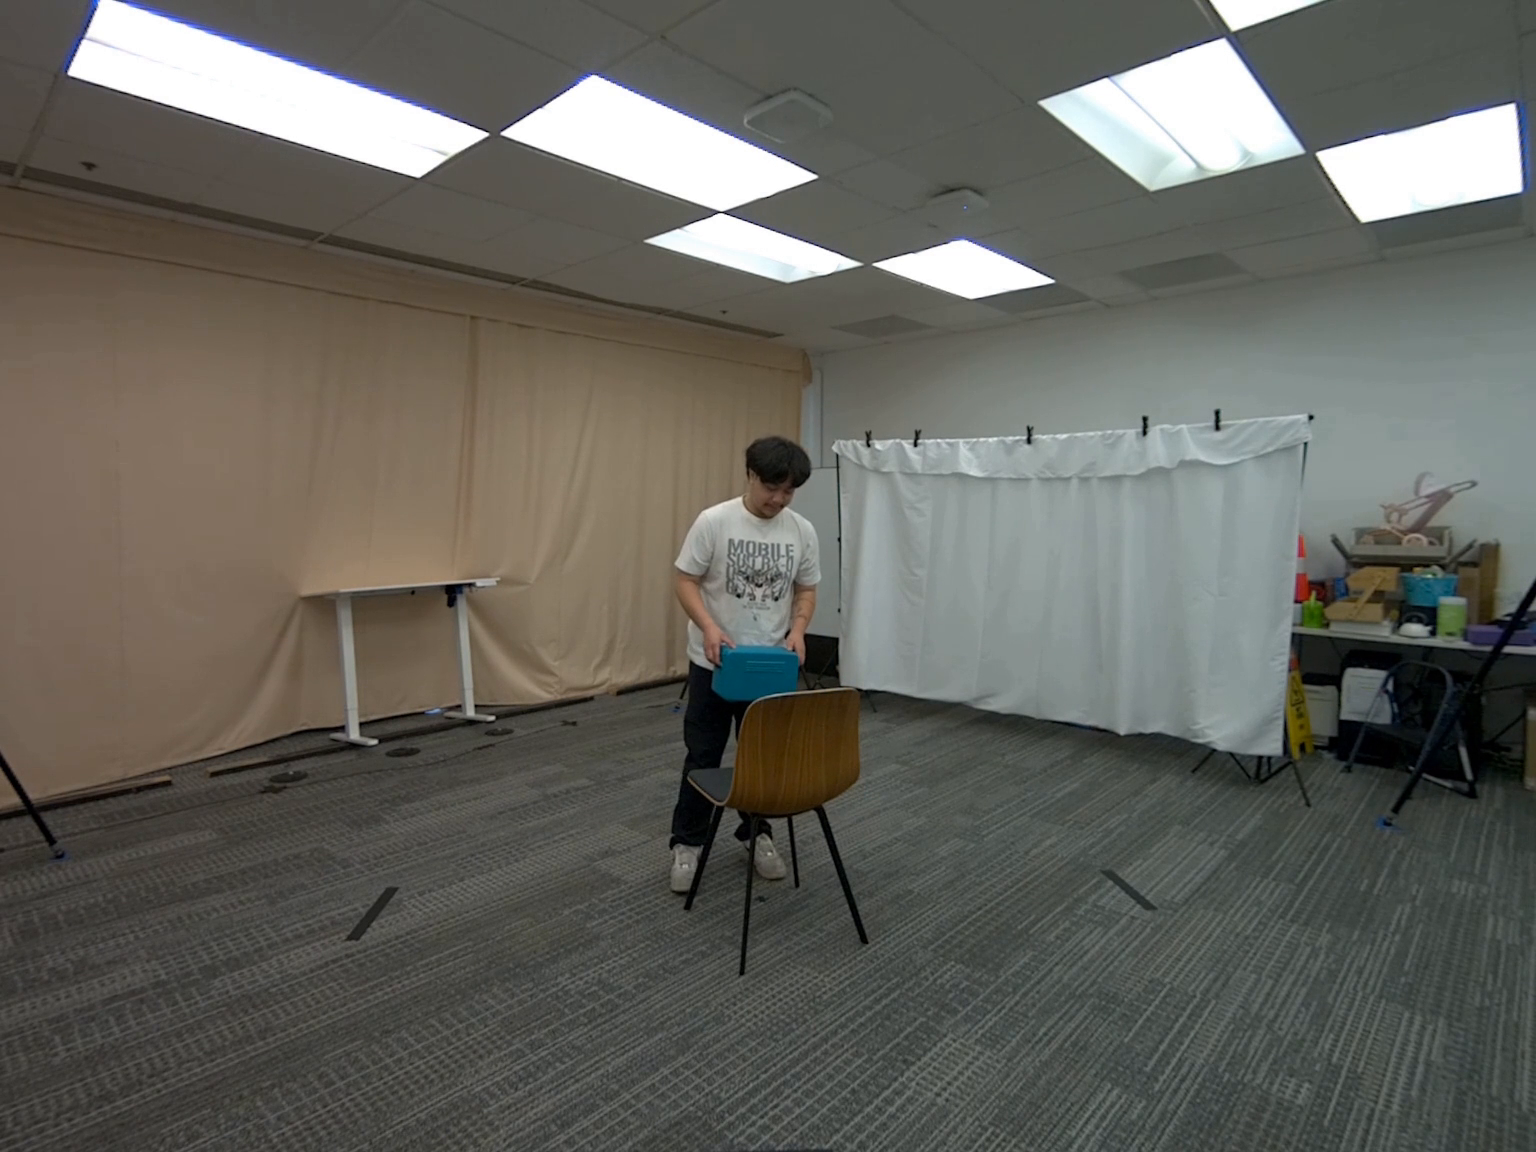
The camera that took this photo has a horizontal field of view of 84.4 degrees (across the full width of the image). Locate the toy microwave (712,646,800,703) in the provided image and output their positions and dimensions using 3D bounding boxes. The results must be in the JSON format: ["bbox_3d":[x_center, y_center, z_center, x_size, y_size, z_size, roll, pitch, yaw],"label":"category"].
[{"bbox_3d":[-0.057,0.348,3.002,0.281,0.184,0.156,4,5,-18],"label":"toy microwave"}]
